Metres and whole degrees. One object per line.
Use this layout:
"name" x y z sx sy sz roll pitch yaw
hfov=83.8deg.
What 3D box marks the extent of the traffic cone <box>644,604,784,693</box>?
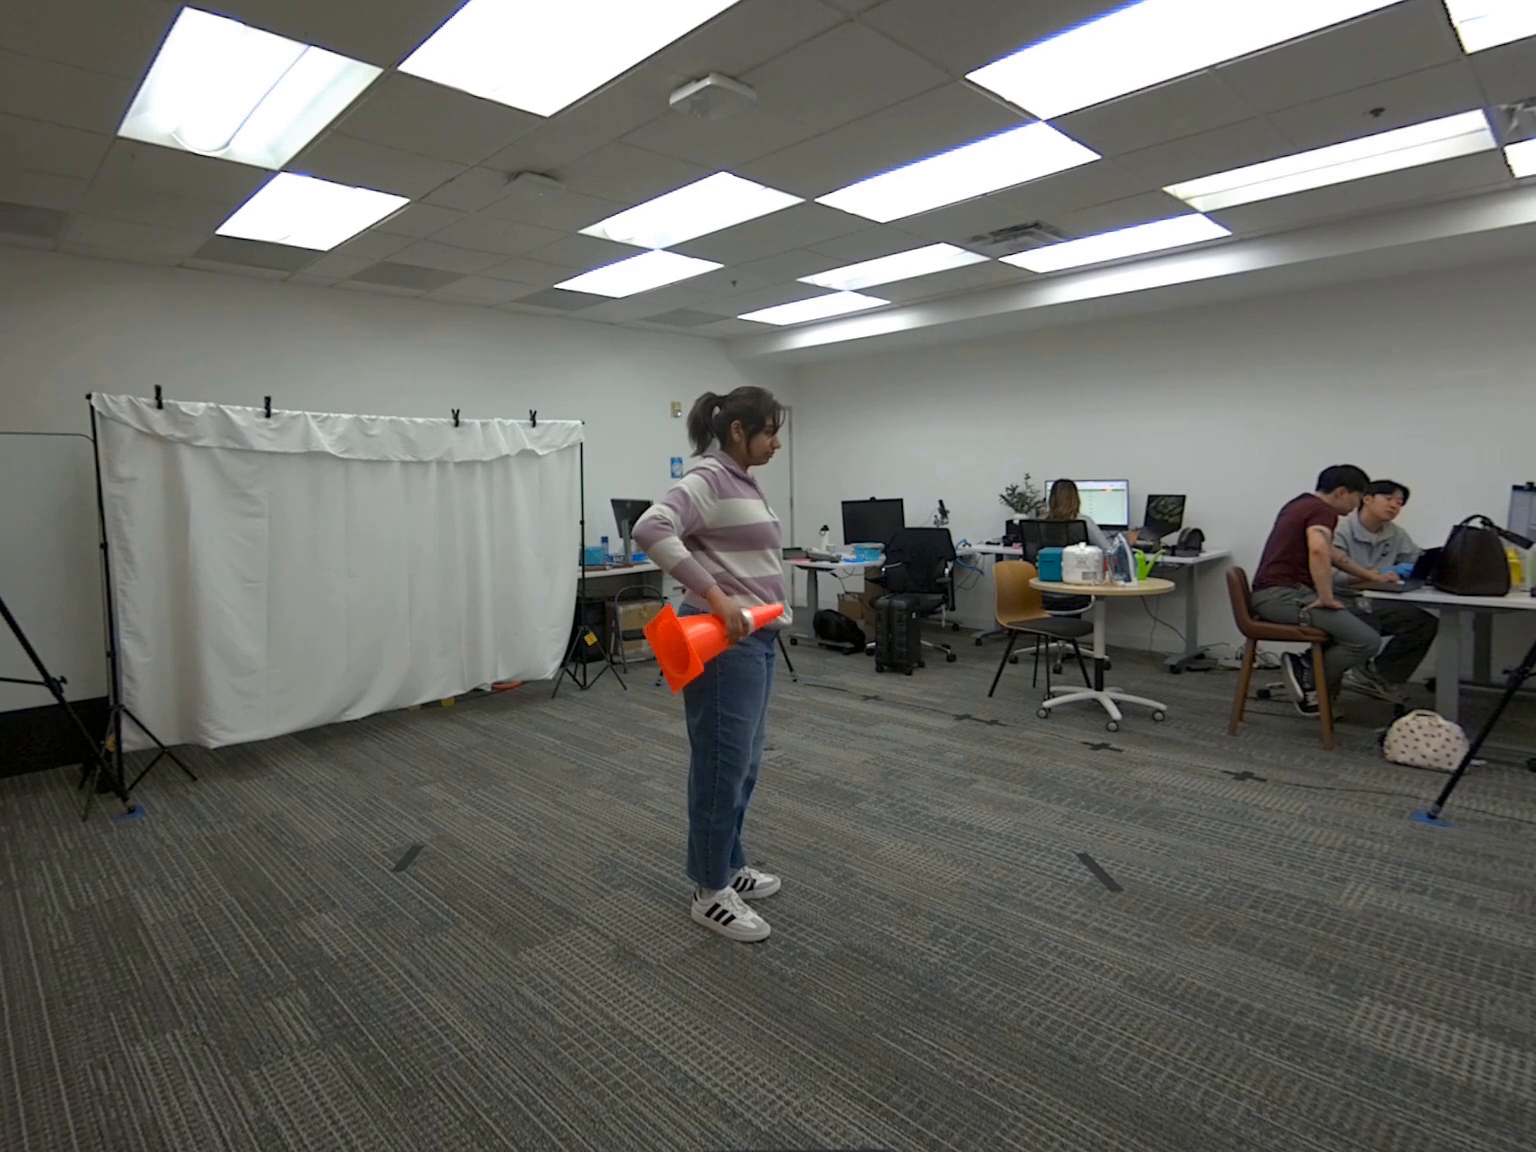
"traffic cone" -0.112 0.149 2.360 0.376 0.207 0.205 -17 -17 -36
